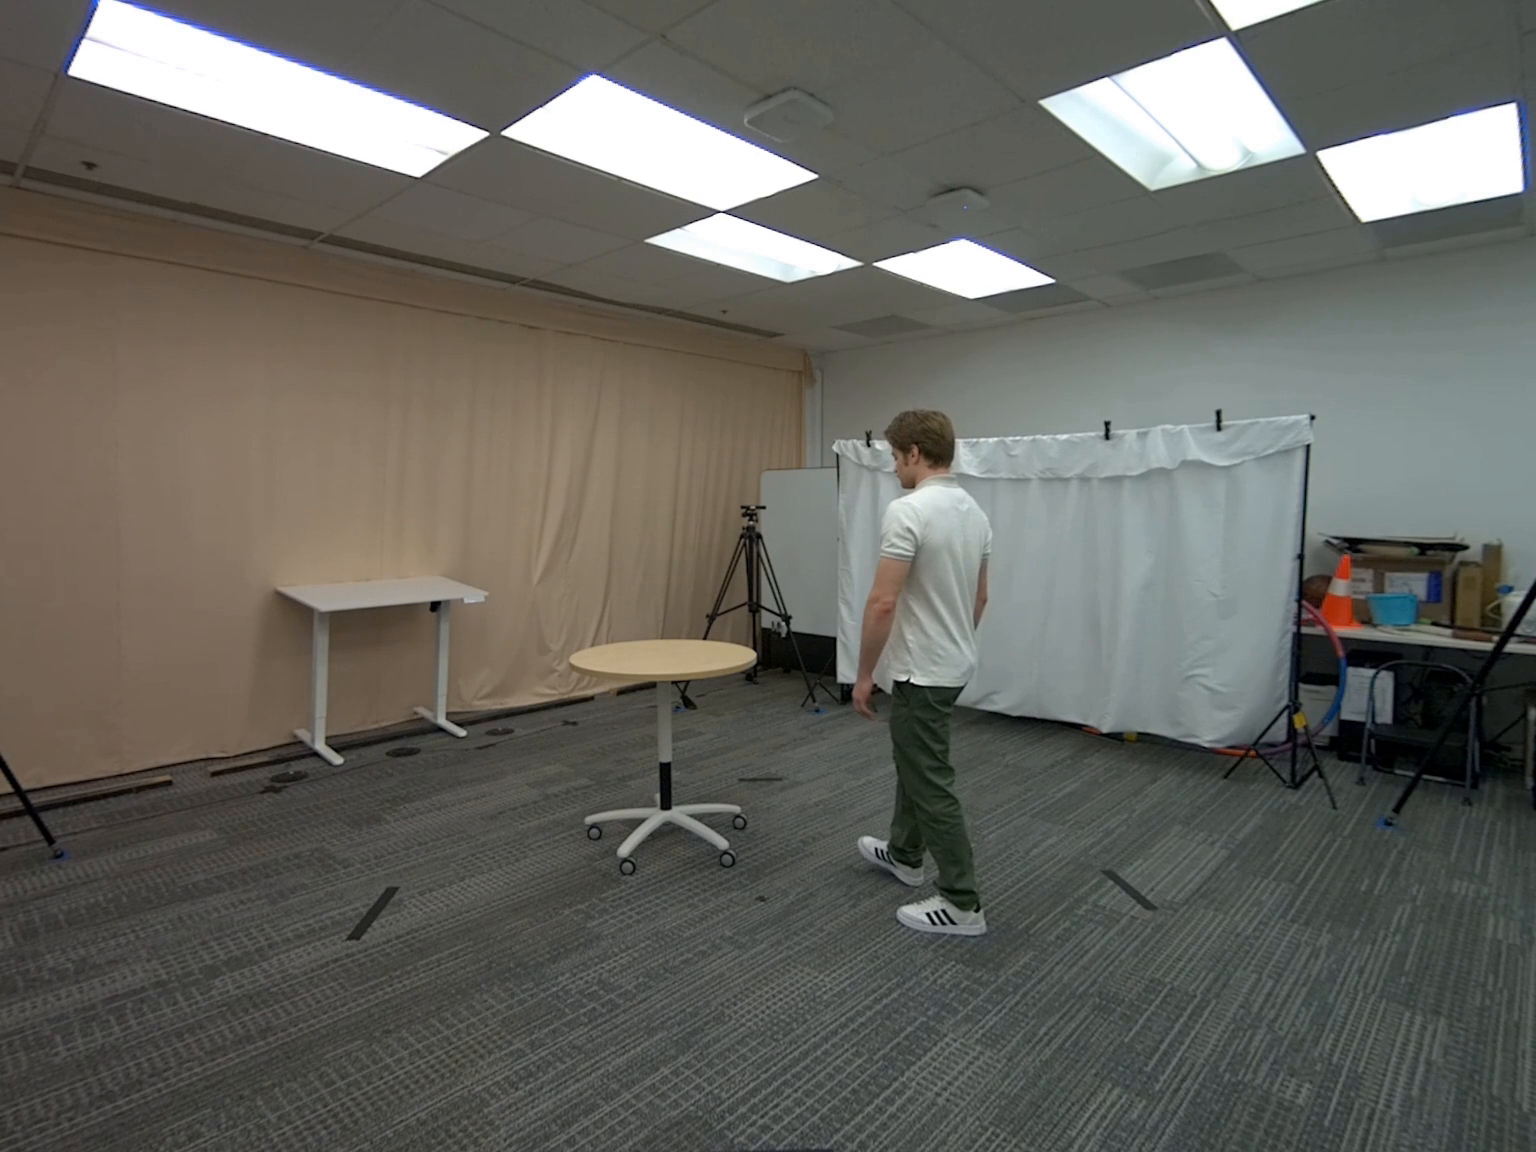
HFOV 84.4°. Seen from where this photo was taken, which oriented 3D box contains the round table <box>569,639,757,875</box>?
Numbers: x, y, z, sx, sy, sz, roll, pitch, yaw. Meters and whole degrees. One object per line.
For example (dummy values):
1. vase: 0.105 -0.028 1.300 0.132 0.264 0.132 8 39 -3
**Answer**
1. round table: -0.405 0.713 3.477 0.784 0.784 0.788 -1 4 -2
